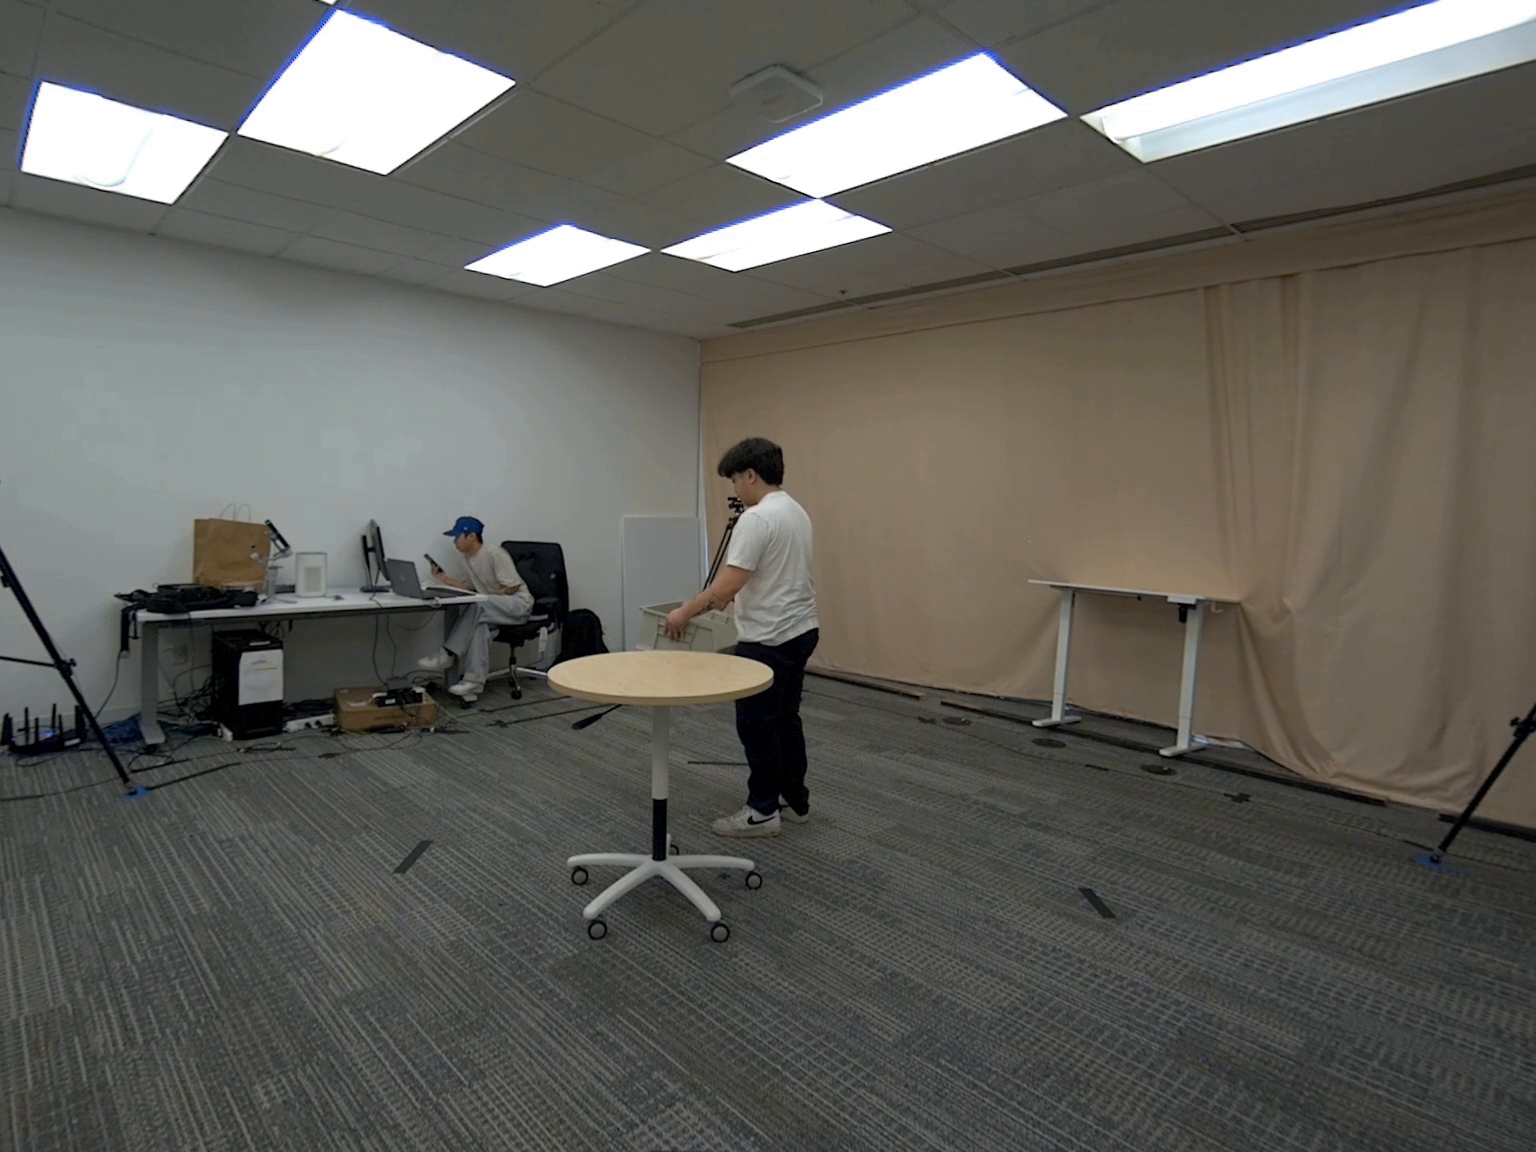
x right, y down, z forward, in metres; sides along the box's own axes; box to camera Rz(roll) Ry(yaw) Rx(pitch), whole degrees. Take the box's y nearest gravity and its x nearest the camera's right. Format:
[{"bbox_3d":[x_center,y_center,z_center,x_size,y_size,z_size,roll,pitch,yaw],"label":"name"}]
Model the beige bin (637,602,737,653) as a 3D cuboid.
[{"bbox_3d":[-0.324,0.246,3.714,0.383,0.188,0.417,11,7,17],"label":"beige bin"}]
